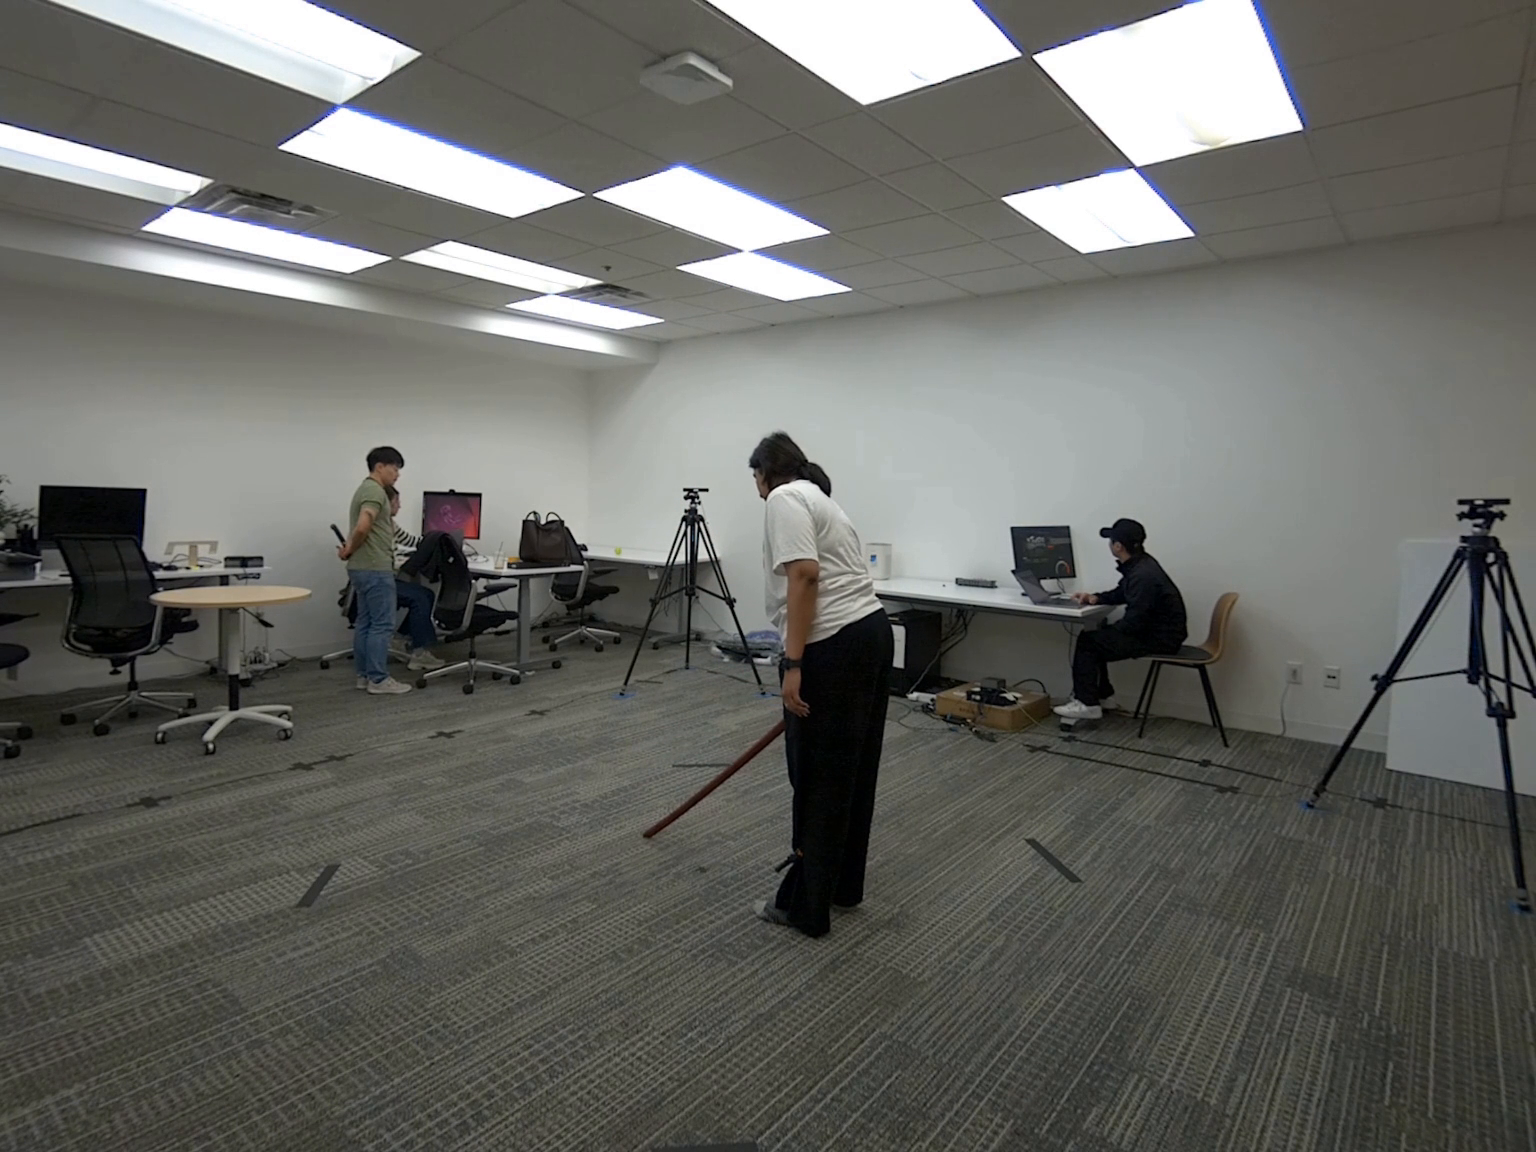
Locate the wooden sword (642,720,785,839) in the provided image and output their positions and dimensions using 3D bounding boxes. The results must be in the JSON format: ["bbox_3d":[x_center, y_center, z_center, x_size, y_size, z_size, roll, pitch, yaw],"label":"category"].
[{"bbox_3d":[-0.159,0.720,3.186,1.027,0.024,0.050,-42,-17,24],"label":"wooden sword"}]
